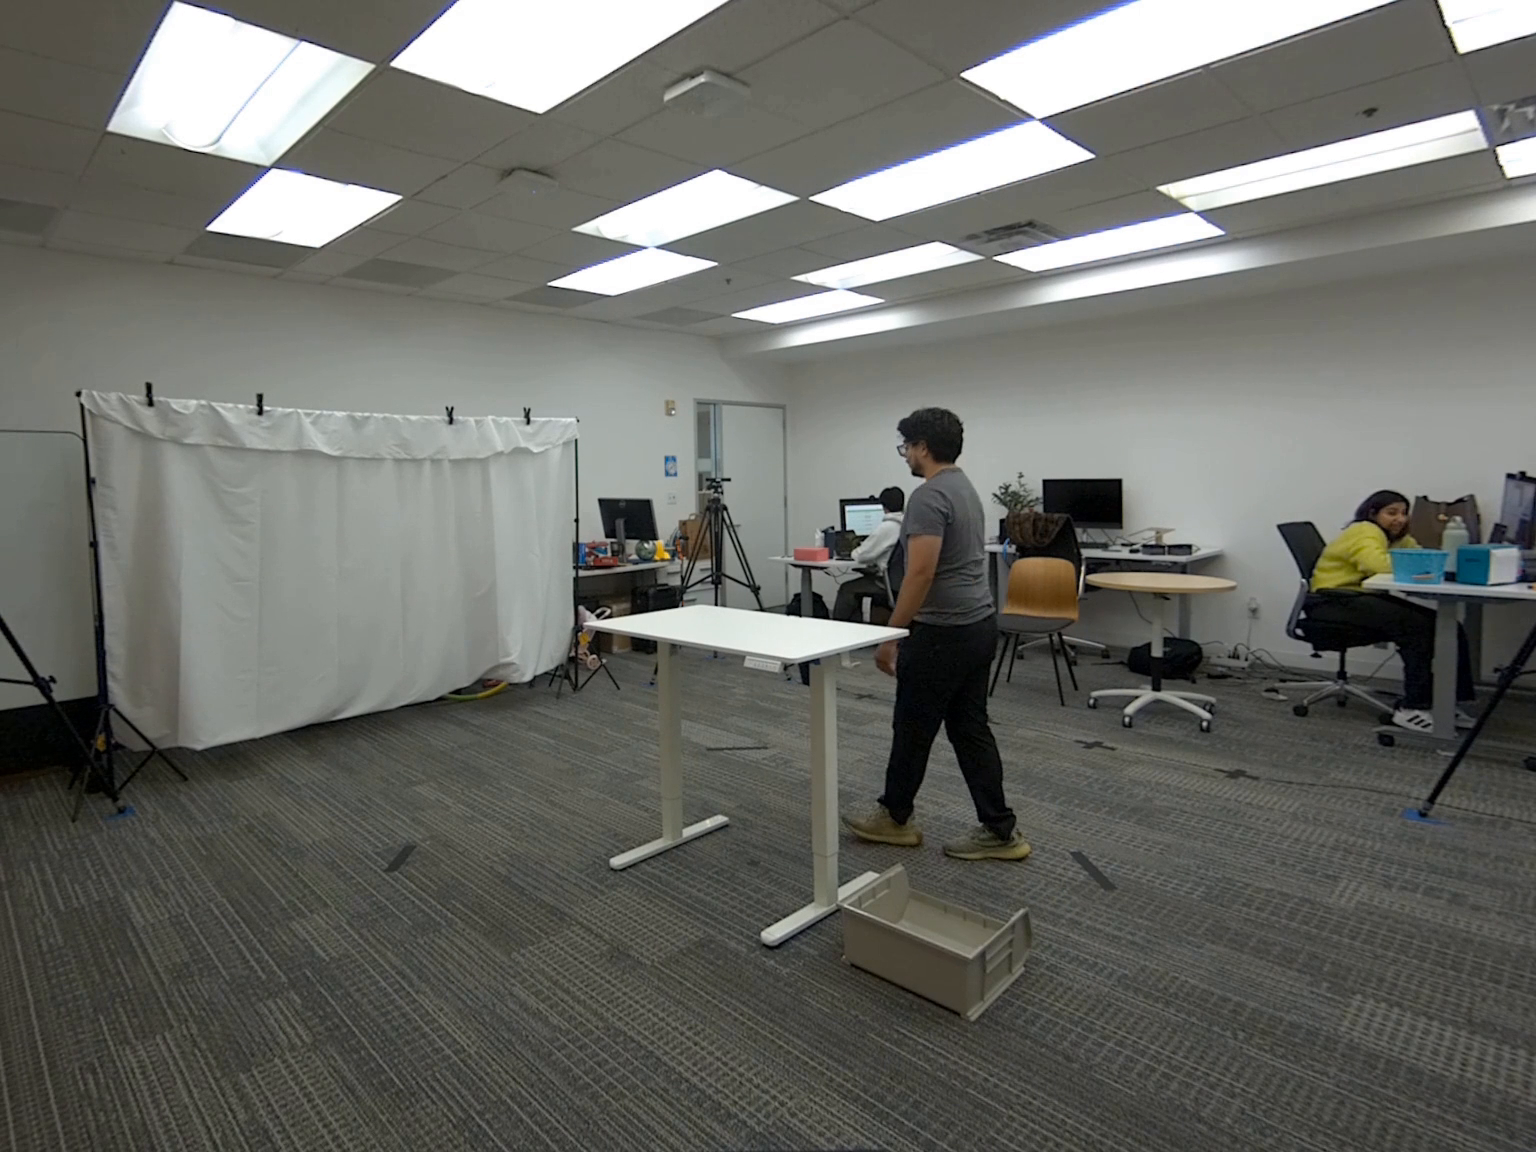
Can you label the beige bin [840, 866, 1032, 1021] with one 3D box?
[{"bbox_3d":[0.481,1.024,2.439,0.435,0.188,0.368,5,9,42],"label":"beige bin"}]
